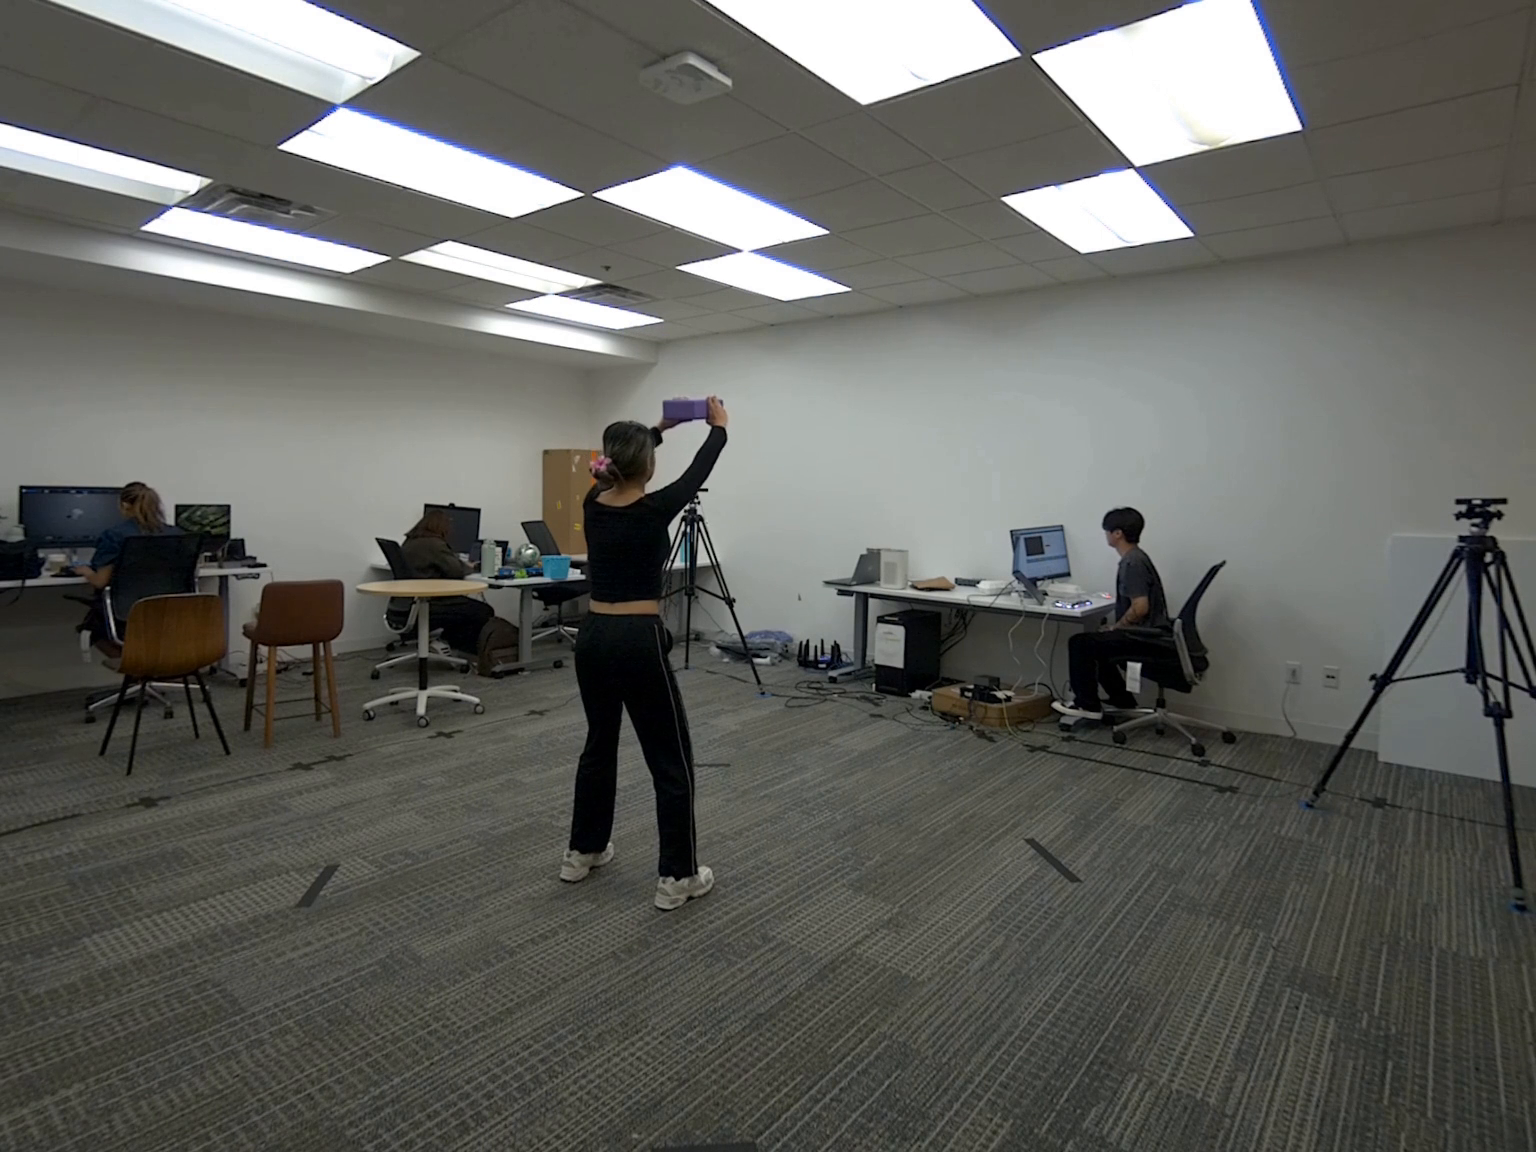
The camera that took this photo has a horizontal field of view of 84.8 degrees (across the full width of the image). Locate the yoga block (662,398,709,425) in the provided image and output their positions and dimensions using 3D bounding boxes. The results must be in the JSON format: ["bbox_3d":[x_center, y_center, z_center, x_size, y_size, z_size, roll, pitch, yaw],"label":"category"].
[{"bbox_3d":[-0.305,-0.654,3.335,0.153,0.075,0.226,5,13,23],"label":"yoga block"}]
